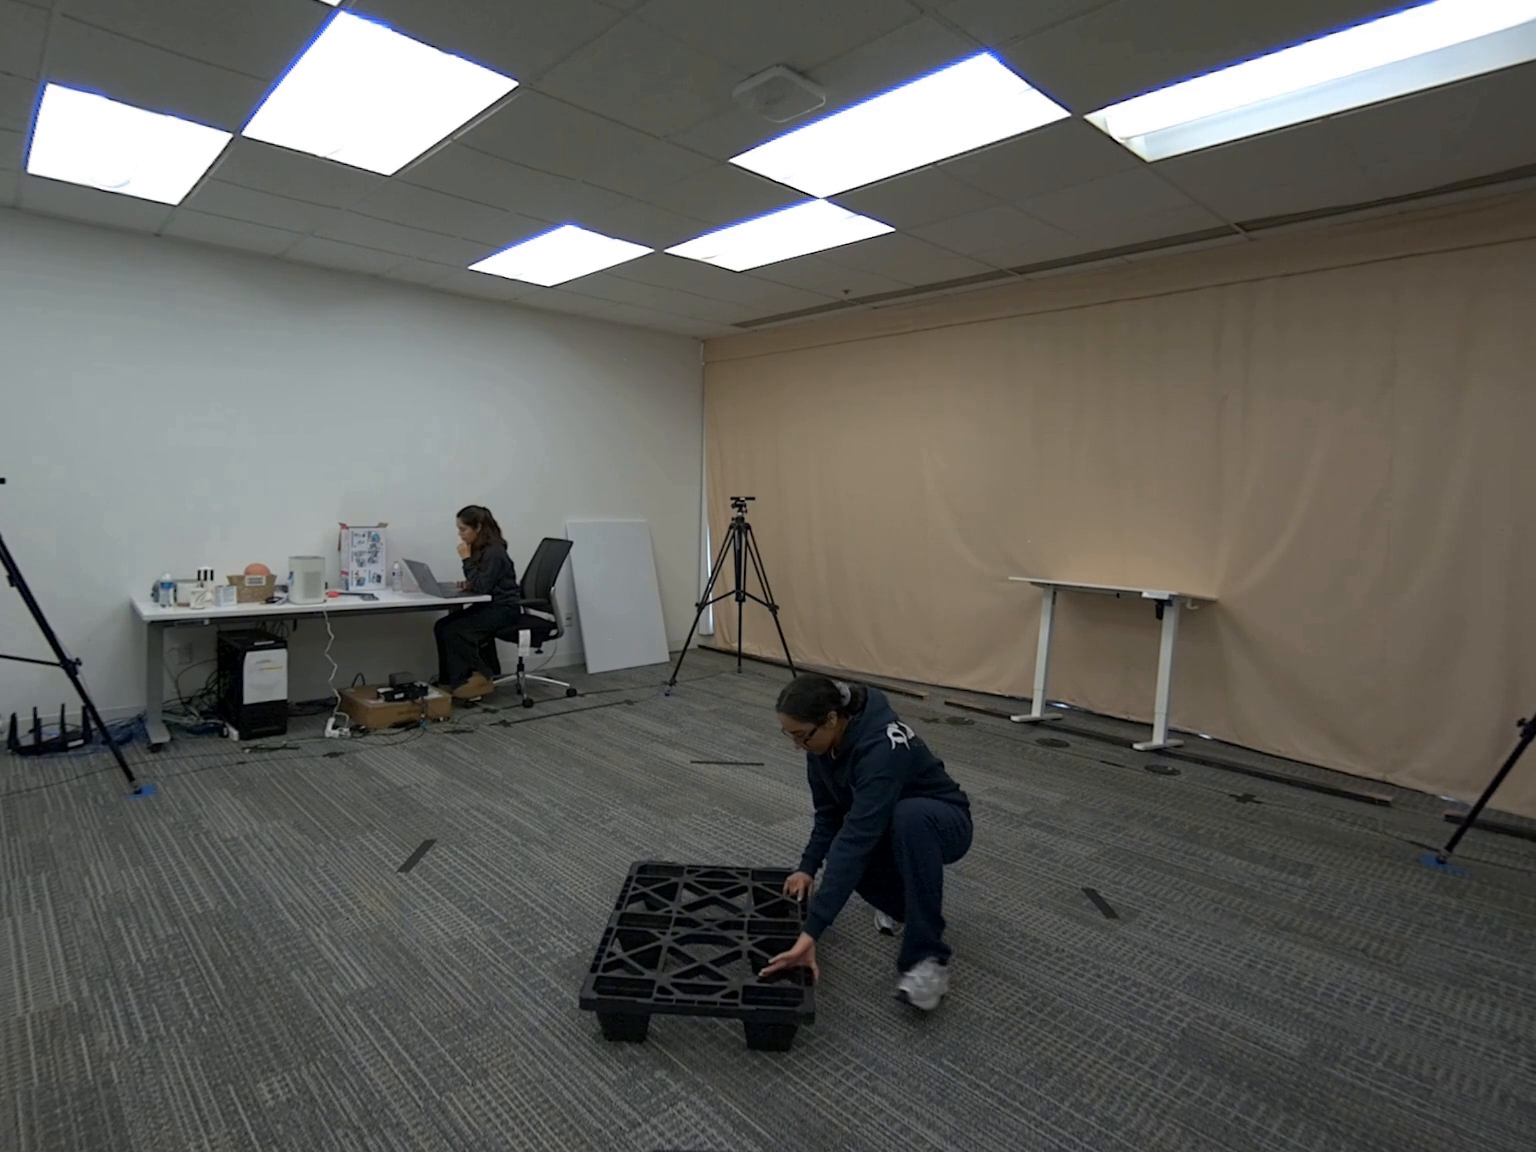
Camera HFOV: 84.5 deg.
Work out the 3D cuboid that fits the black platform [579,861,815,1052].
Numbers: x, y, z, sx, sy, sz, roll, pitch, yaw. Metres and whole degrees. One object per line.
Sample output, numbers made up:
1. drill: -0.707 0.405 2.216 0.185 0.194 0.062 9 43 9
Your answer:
1. black platform: -0.173 1.088 2.500 0.606 0.143 0.807 2 6 2
